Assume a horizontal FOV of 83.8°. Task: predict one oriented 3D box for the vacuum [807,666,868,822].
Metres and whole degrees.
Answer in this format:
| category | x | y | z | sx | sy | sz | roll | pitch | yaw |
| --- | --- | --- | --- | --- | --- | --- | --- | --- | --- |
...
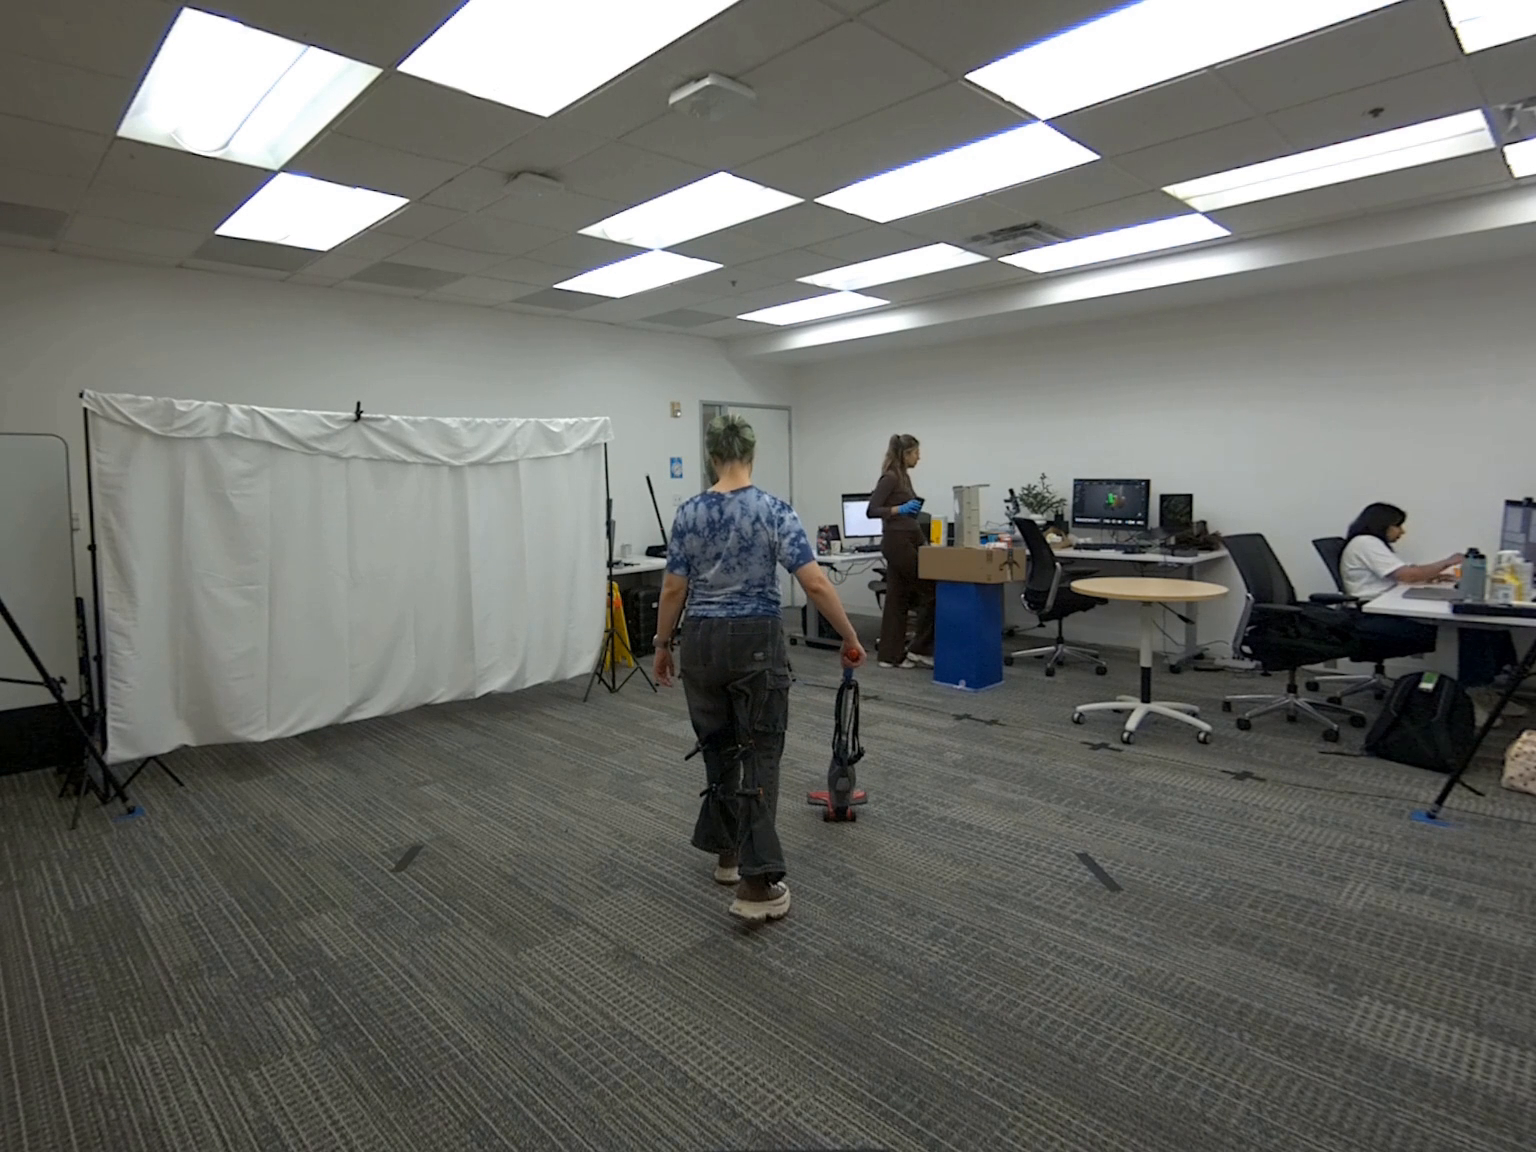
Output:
| category | x | y | z | sx | sy | sz | roll | pitch | yaw |
| --- | --- | --- | --- | --- | --- | --- | --- | --- | --- |
| vacuum | 0.284 | 0.619 | 3.174 | 0.253 | 1.020 | 0.148 | 1 | 48 | 2 |
